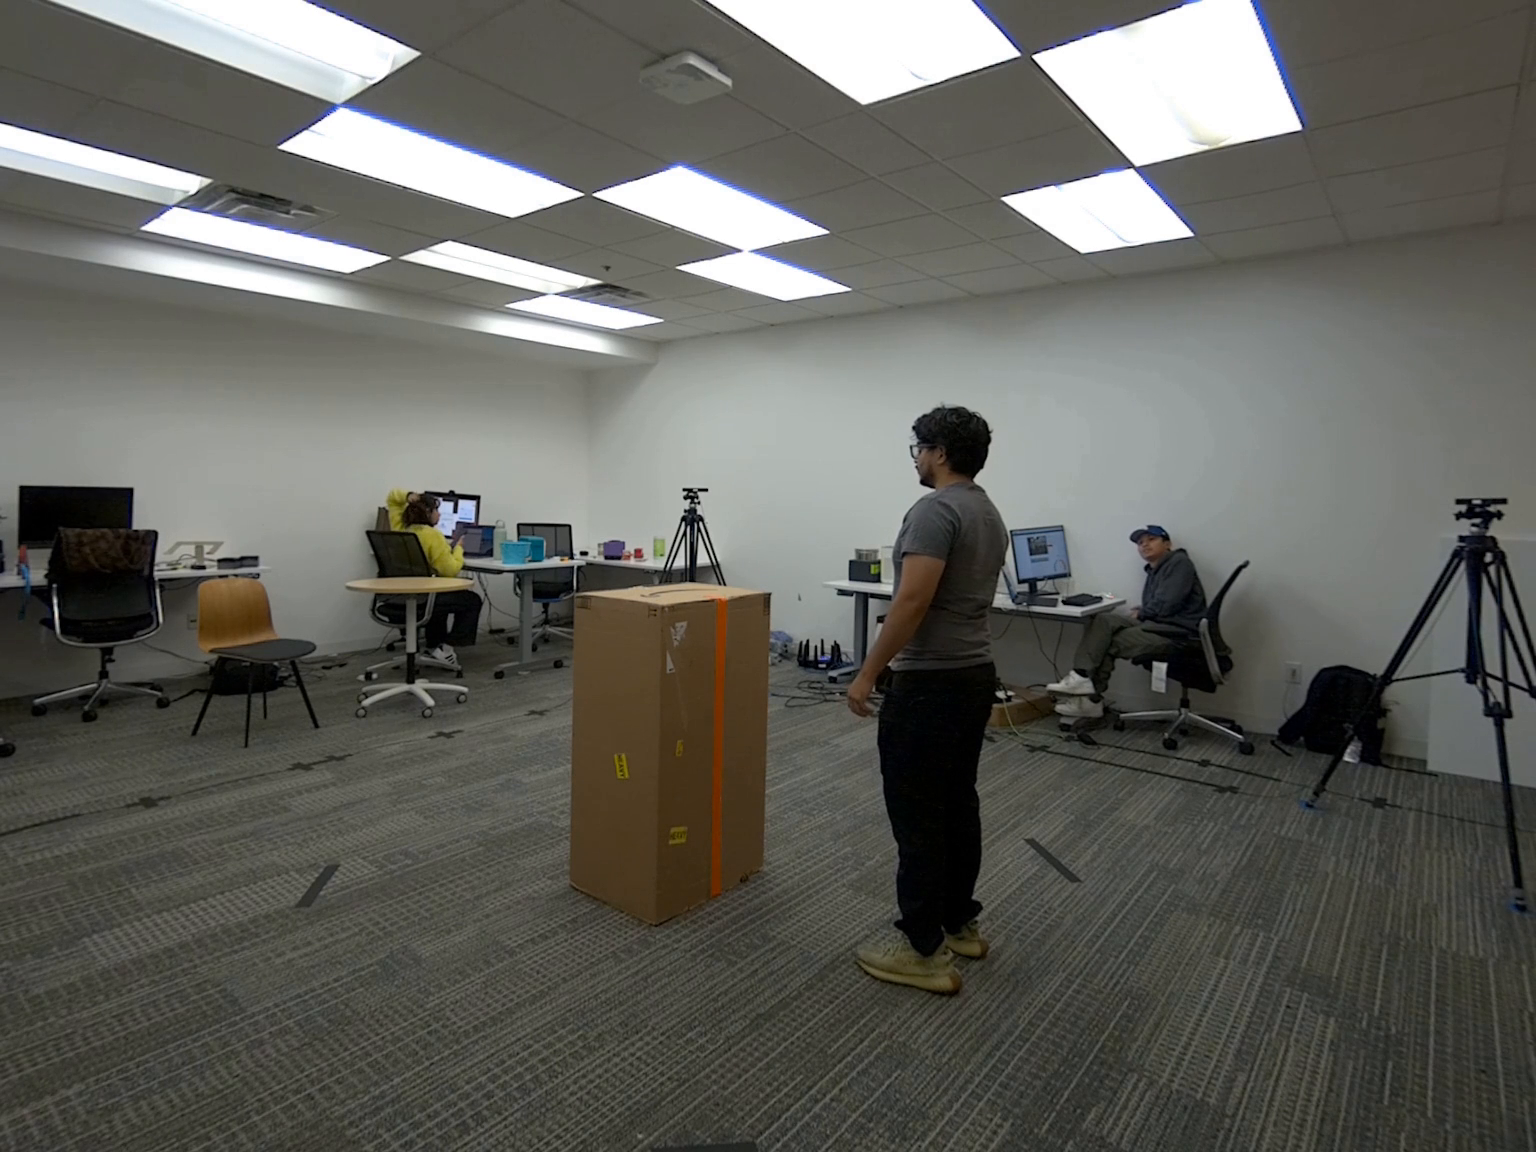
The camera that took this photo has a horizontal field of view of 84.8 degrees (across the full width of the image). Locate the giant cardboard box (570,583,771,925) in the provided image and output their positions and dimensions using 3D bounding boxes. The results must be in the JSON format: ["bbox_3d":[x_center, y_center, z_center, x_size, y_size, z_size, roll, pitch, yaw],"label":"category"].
[{"bbox_3d":[-0.346,0.568,3.018,0.440,1.023,0.560,3,4,38],"label":"giant cardboard box"}]
